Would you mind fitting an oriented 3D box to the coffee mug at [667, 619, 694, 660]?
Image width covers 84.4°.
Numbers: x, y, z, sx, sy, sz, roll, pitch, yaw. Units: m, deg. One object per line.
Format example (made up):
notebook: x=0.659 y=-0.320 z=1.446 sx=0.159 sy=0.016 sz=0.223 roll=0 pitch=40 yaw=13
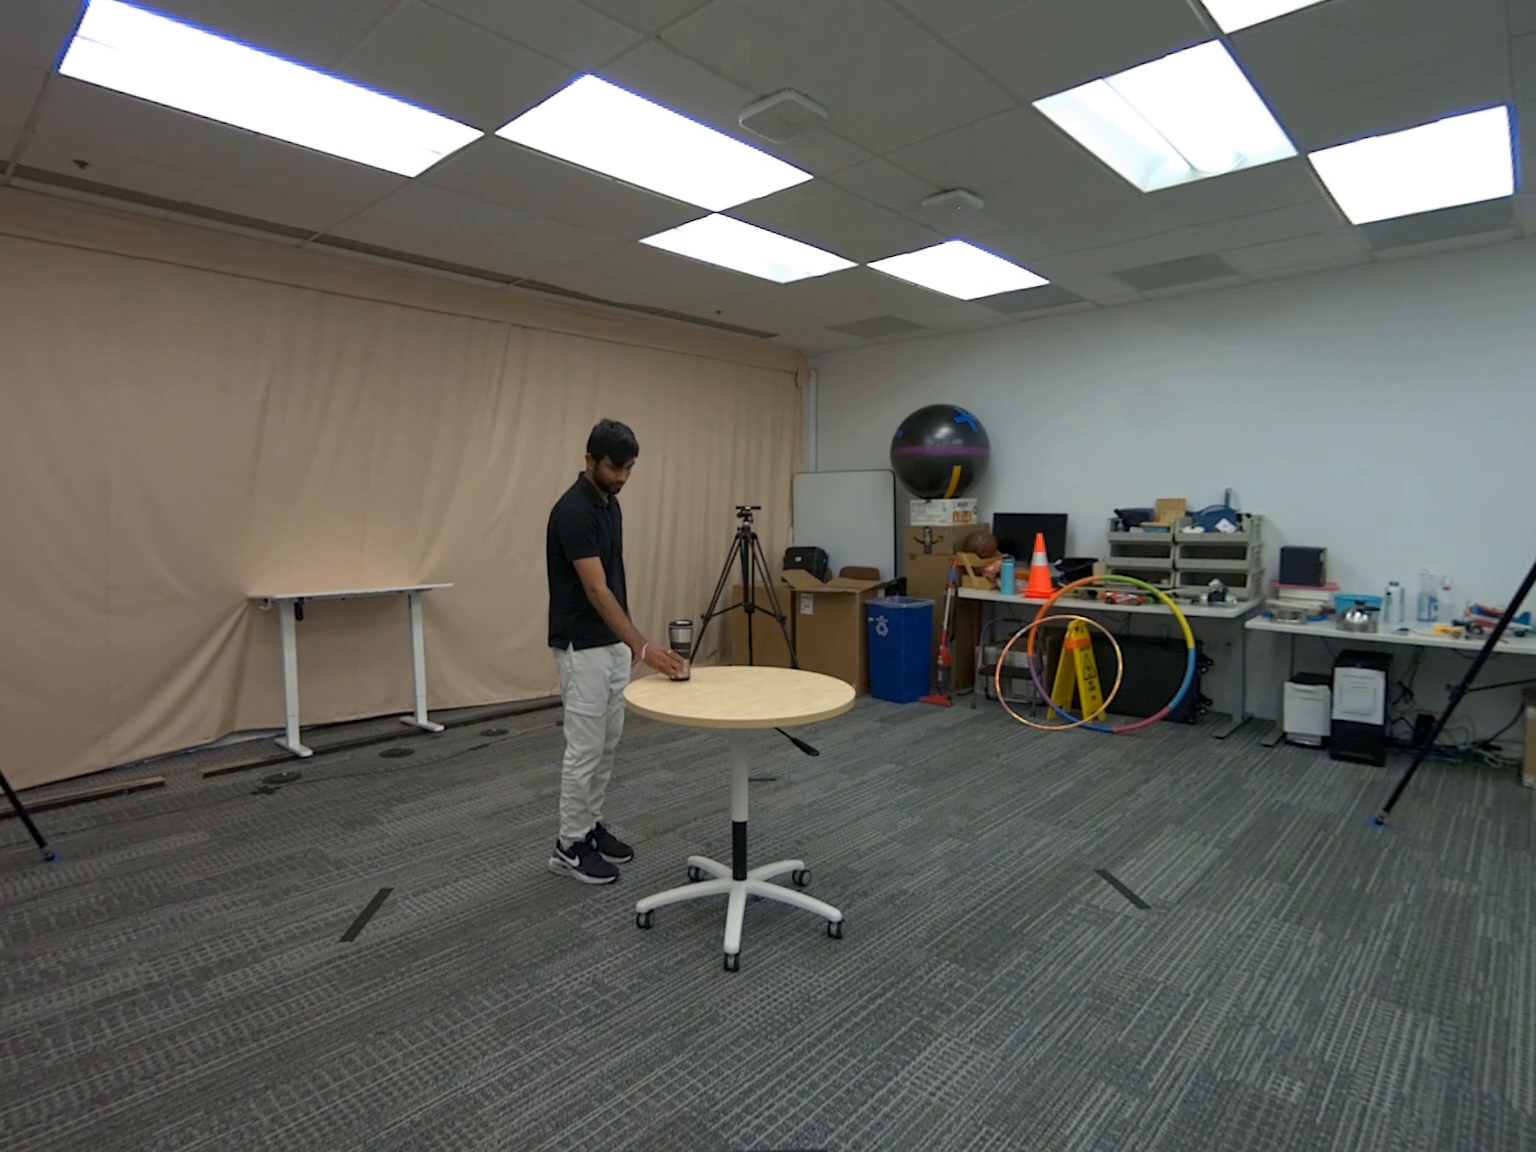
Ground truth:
coffee mug: x=-0.293 y=0.263 z=2.965 sx=0.090 sy=0.203 sz=0.118 roll=-2 pitch=3 yaw=33
